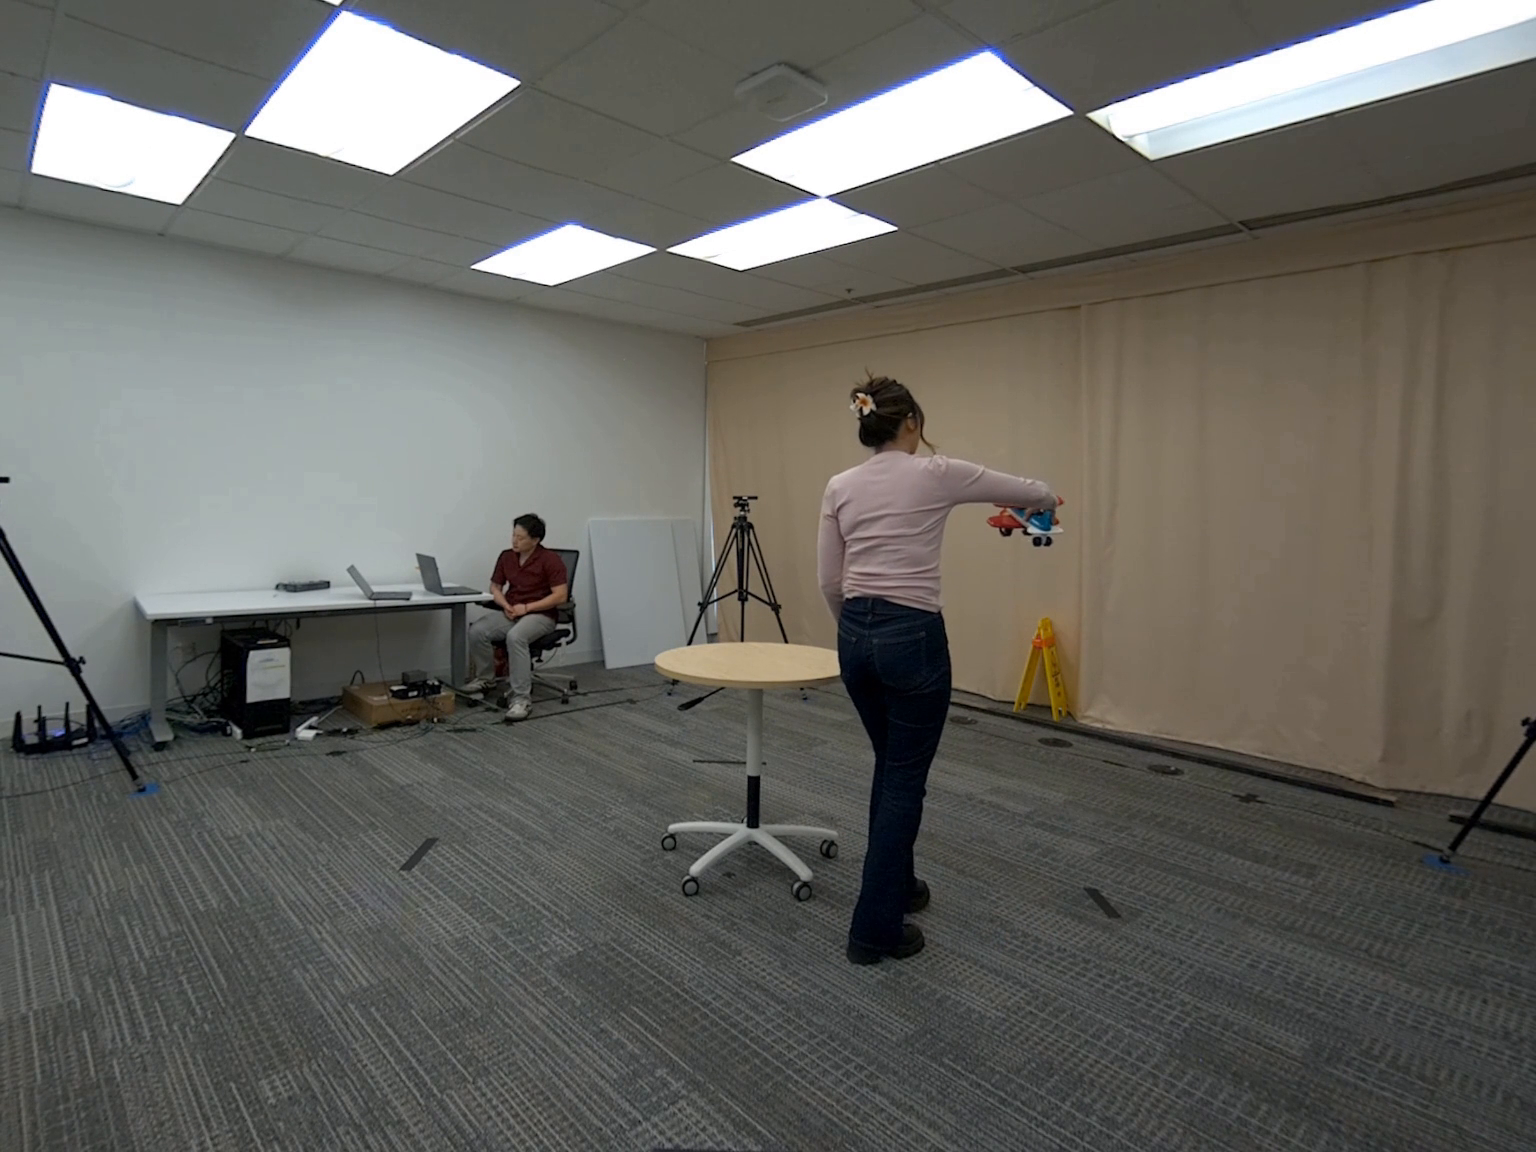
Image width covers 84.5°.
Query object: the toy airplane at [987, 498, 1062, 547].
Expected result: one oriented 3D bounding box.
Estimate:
[{"bbox_3d":[0.916,-0.191,2.899,0.246,0.155,0.266,-9,17,-34],"label":"toy airplane"}]
